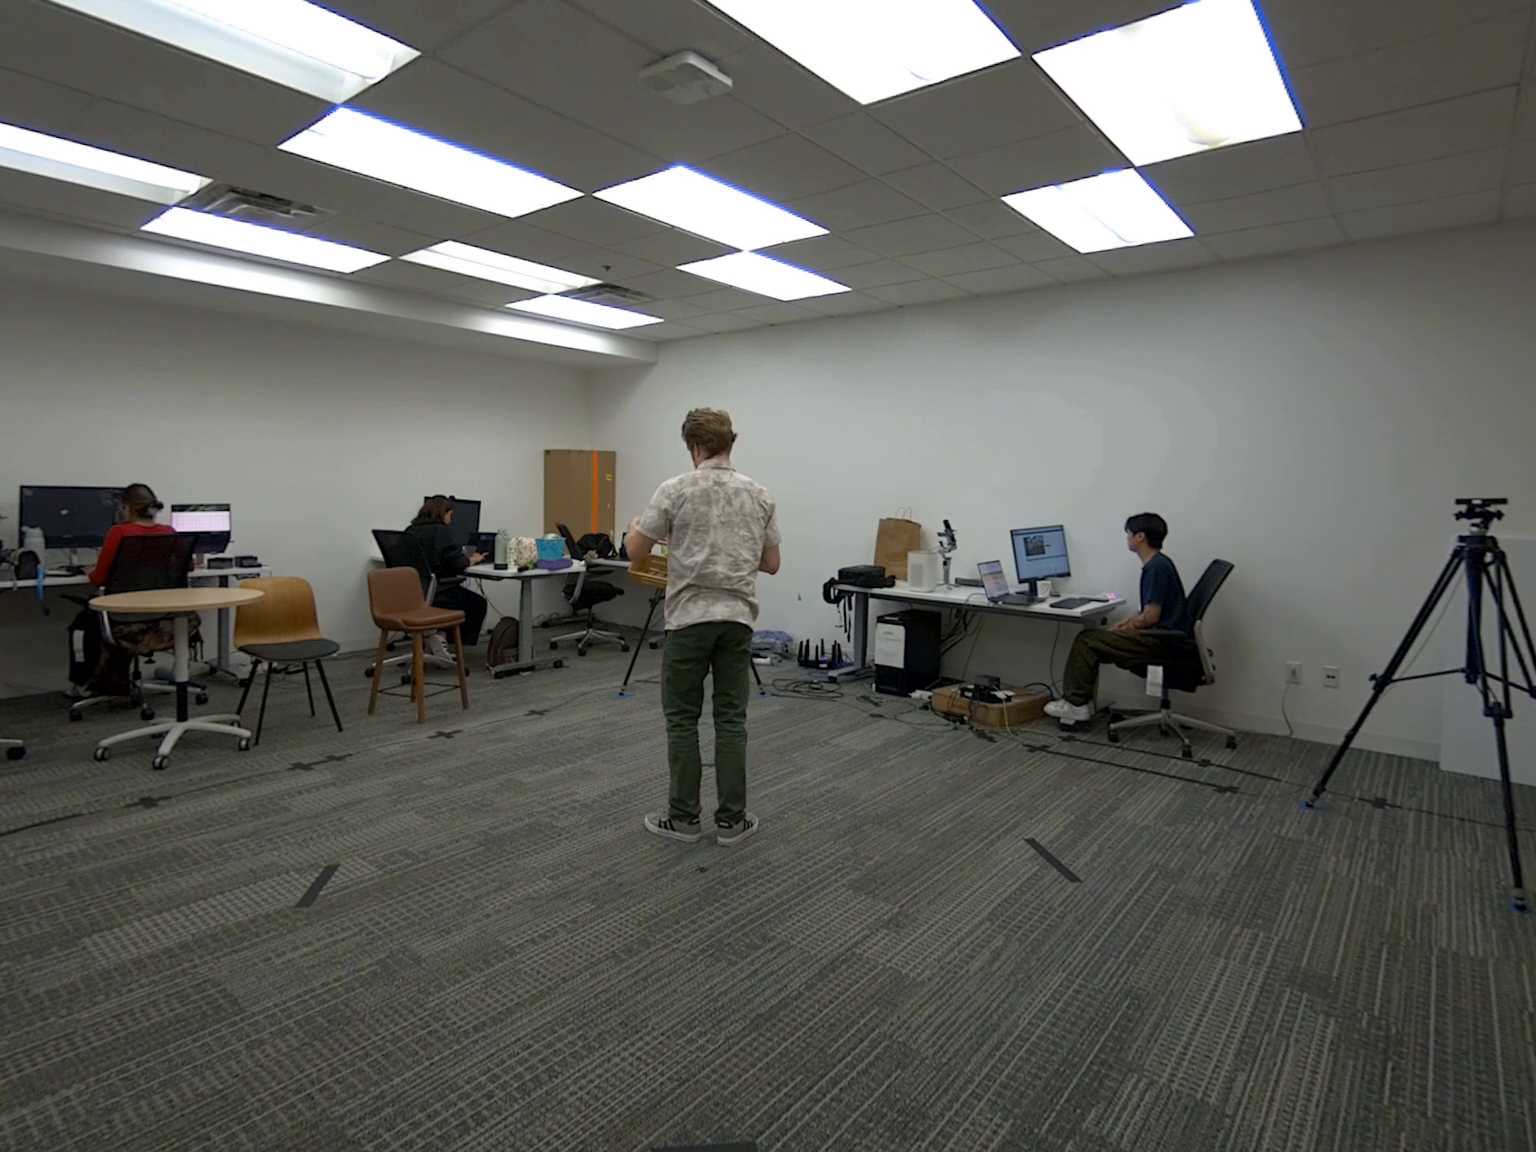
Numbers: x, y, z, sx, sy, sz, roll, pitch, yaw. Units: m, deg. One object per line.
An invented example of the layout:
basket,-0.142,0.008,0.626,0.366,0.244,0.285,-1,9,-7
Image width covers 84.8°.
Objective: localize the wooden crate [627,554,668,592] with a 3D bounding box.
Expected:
wooden crate,-0.426,-0.098,3.697,0.326,0.271,0.303,12,11,4
